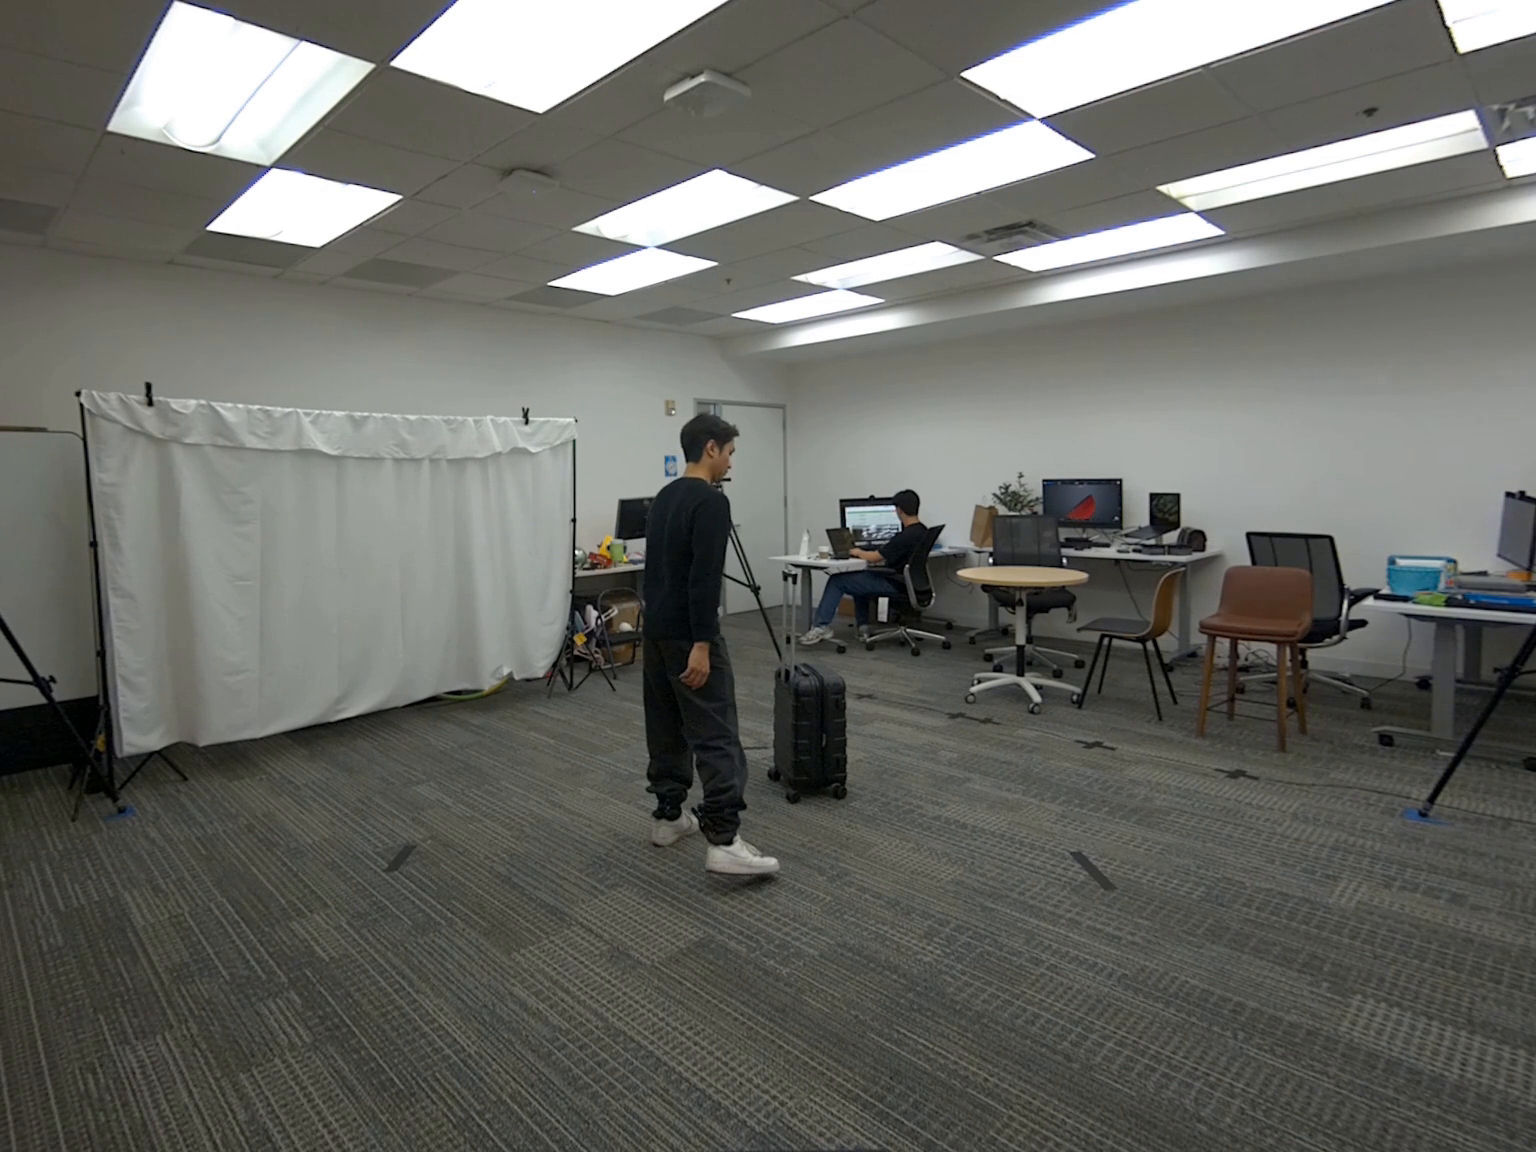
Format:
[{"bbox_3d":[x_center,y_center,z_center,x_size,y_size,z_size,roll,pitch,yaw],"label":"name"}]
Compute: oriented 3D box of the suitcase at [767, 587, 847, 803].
[{"bbox_3d":[0.190,0.479,3.839,0.254,0.976,0.390,1,3,-14],"label":"suitcase"}]
